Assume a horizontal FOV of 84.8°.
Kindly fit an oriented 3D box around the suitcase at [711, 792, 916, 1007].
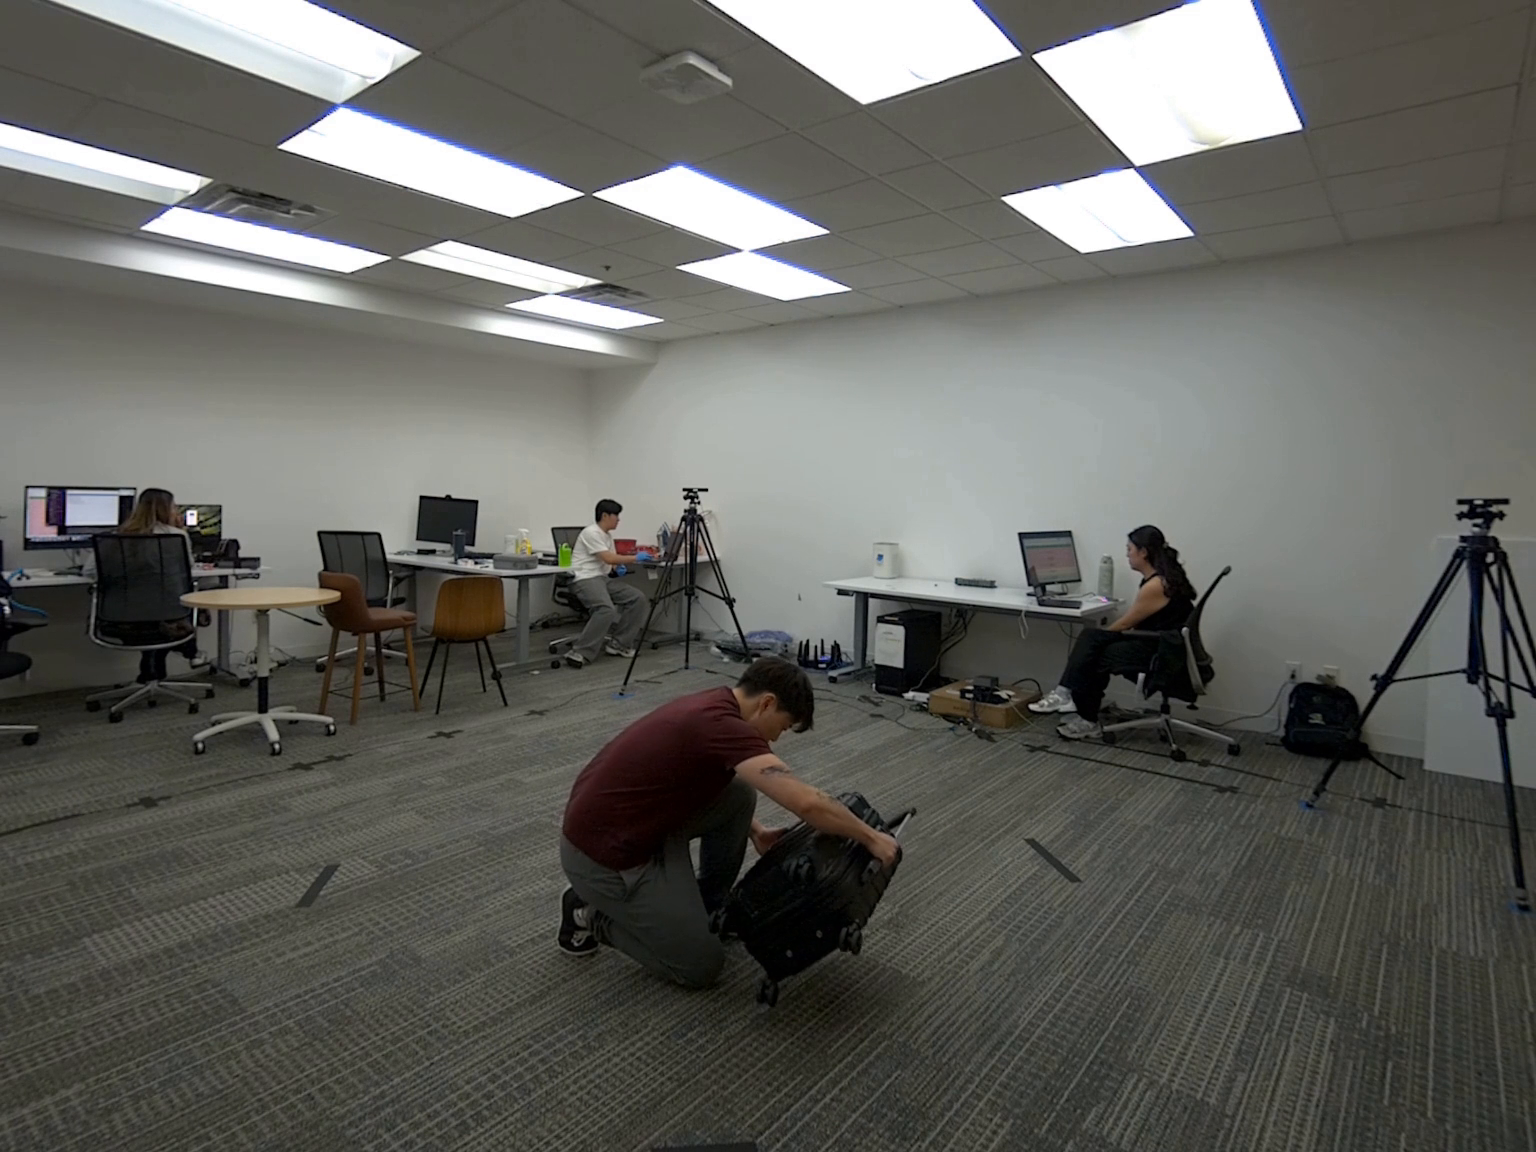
[{"bbox_3d":[0.206,0.826,2.541,0.385,0.260,0.963,-42,-8,22],"label":"suitcase"}]
